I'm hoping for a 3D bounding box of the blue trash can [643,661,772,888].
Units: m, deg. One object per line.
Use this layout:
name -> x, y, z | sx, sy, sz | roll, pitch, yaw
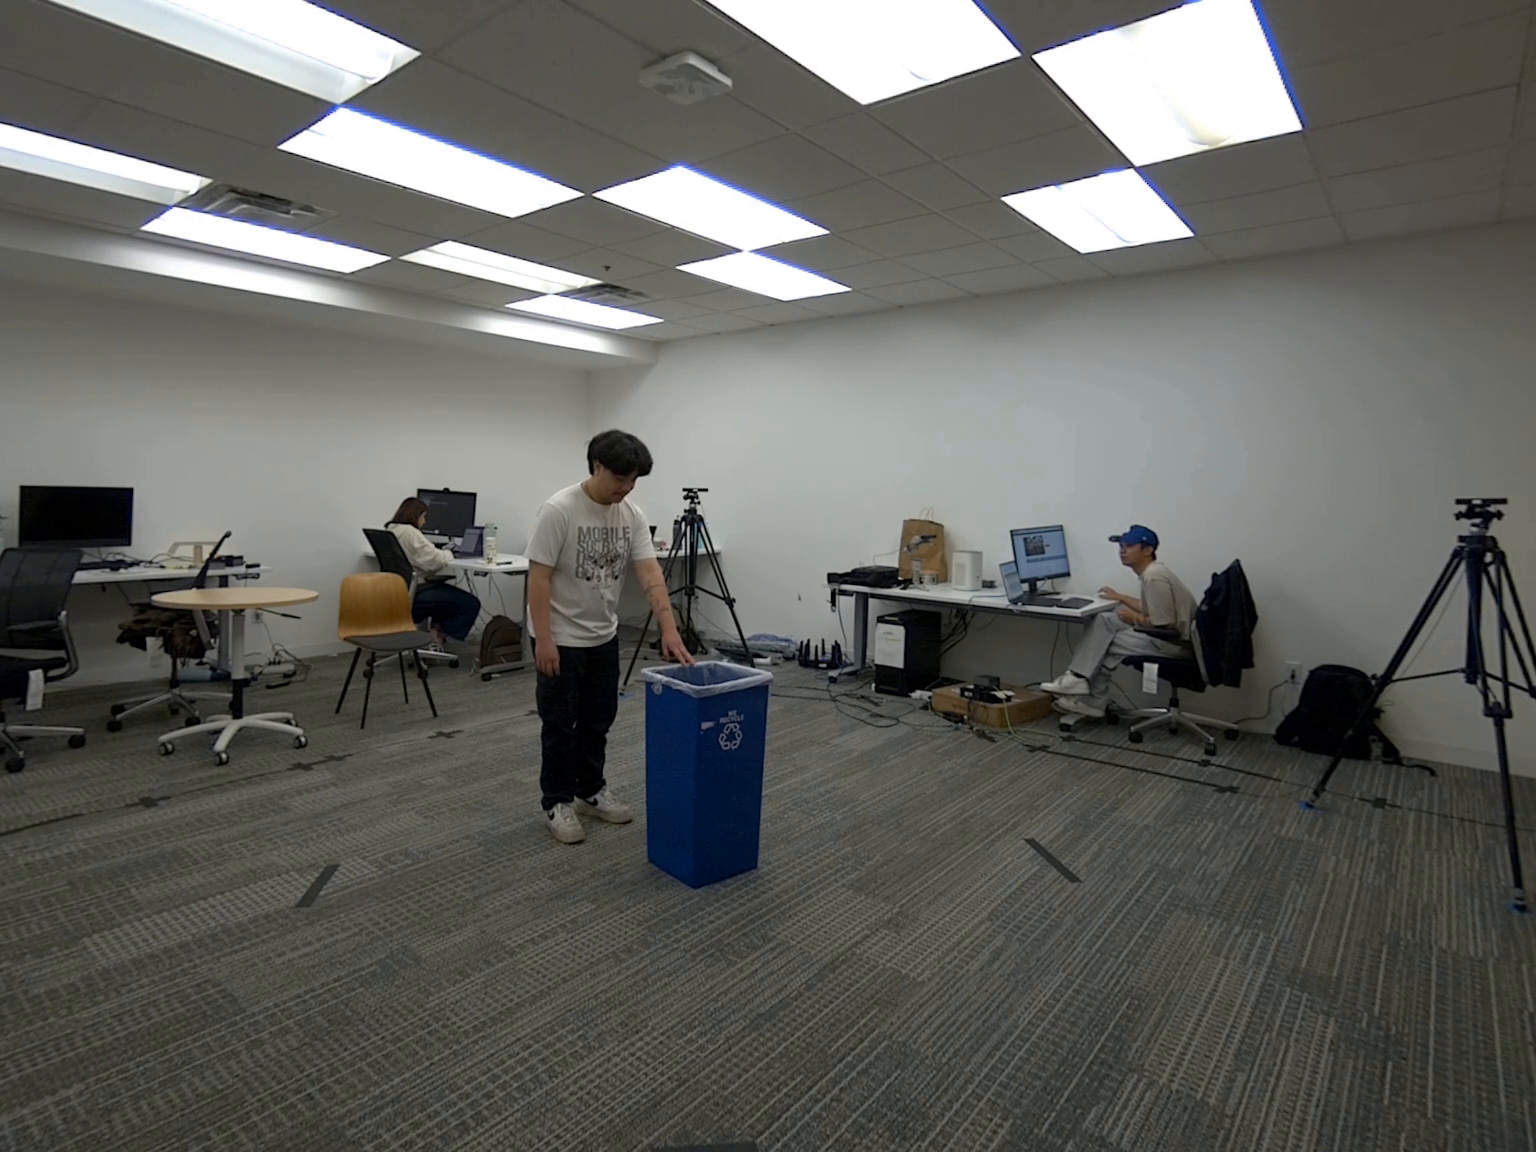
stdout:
blue trash can -> -0.239, 0.706, 3.145 | 0.363, 0.711, 0.391 | -2, 4, -41
